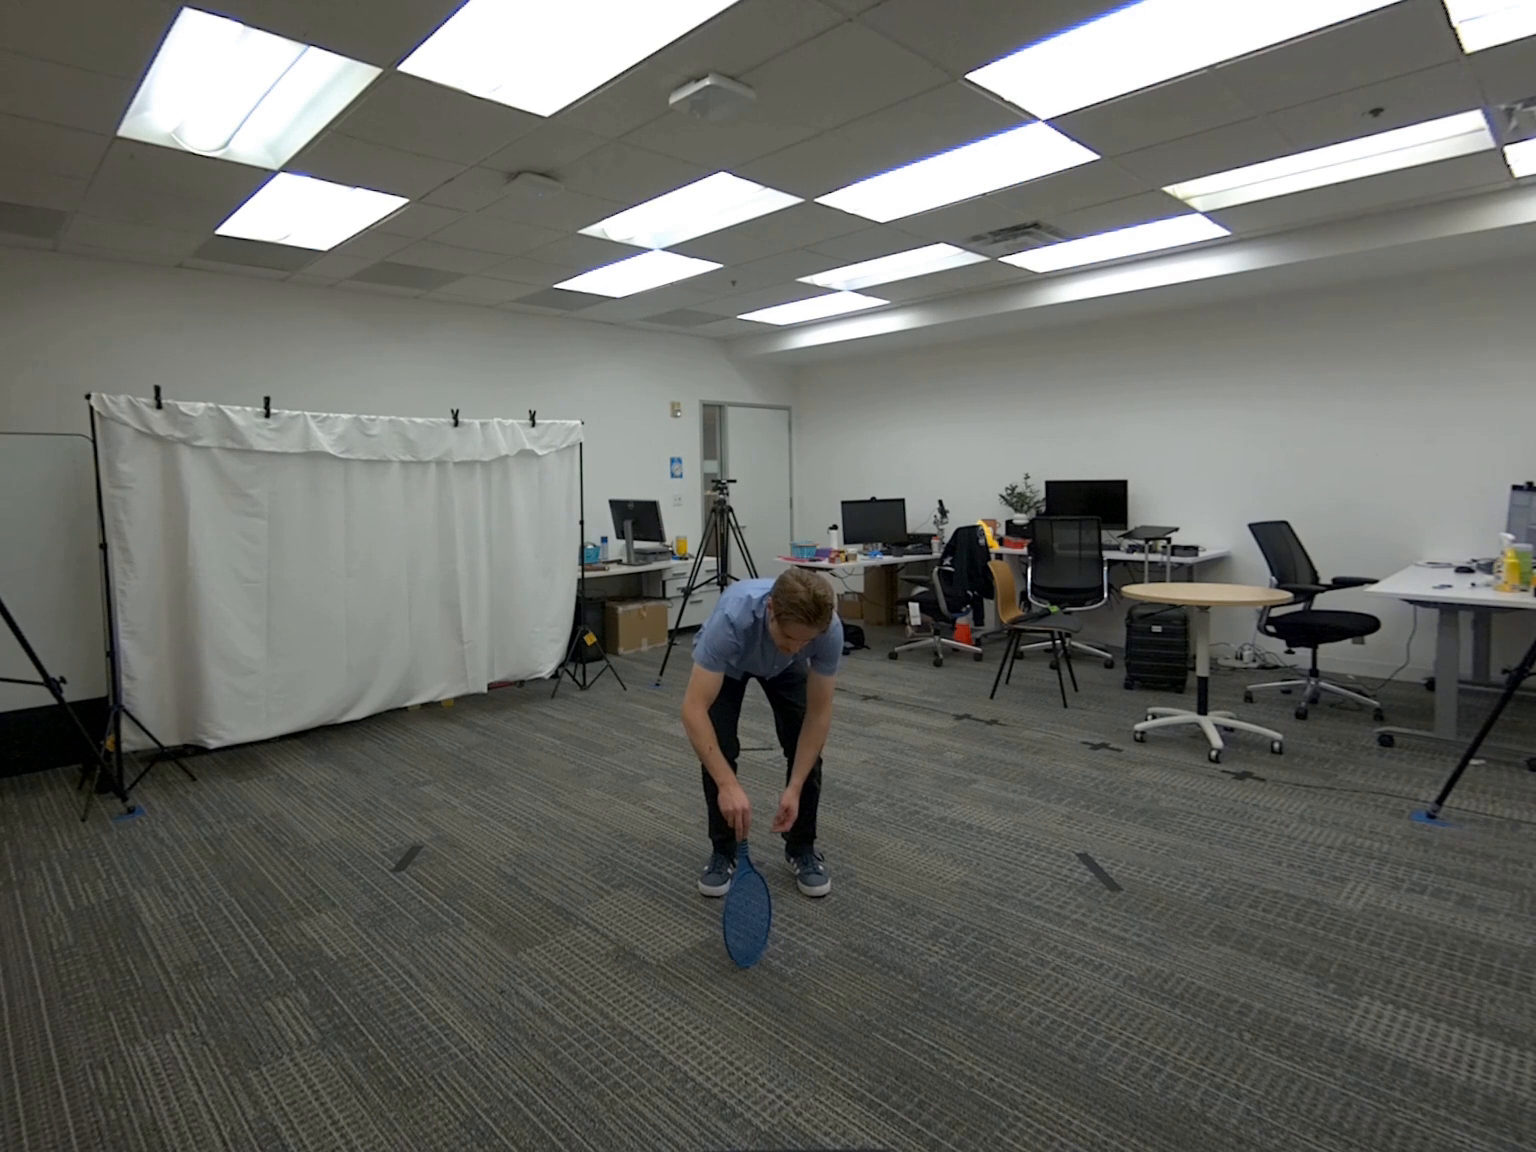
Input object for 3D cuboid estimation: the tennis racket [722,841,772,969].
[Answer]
[{"bbox_3d":[-0.057,0.902,2.483,0.032,0.433,0.208,-6,-1,38],"label":"tennis racket"}]
